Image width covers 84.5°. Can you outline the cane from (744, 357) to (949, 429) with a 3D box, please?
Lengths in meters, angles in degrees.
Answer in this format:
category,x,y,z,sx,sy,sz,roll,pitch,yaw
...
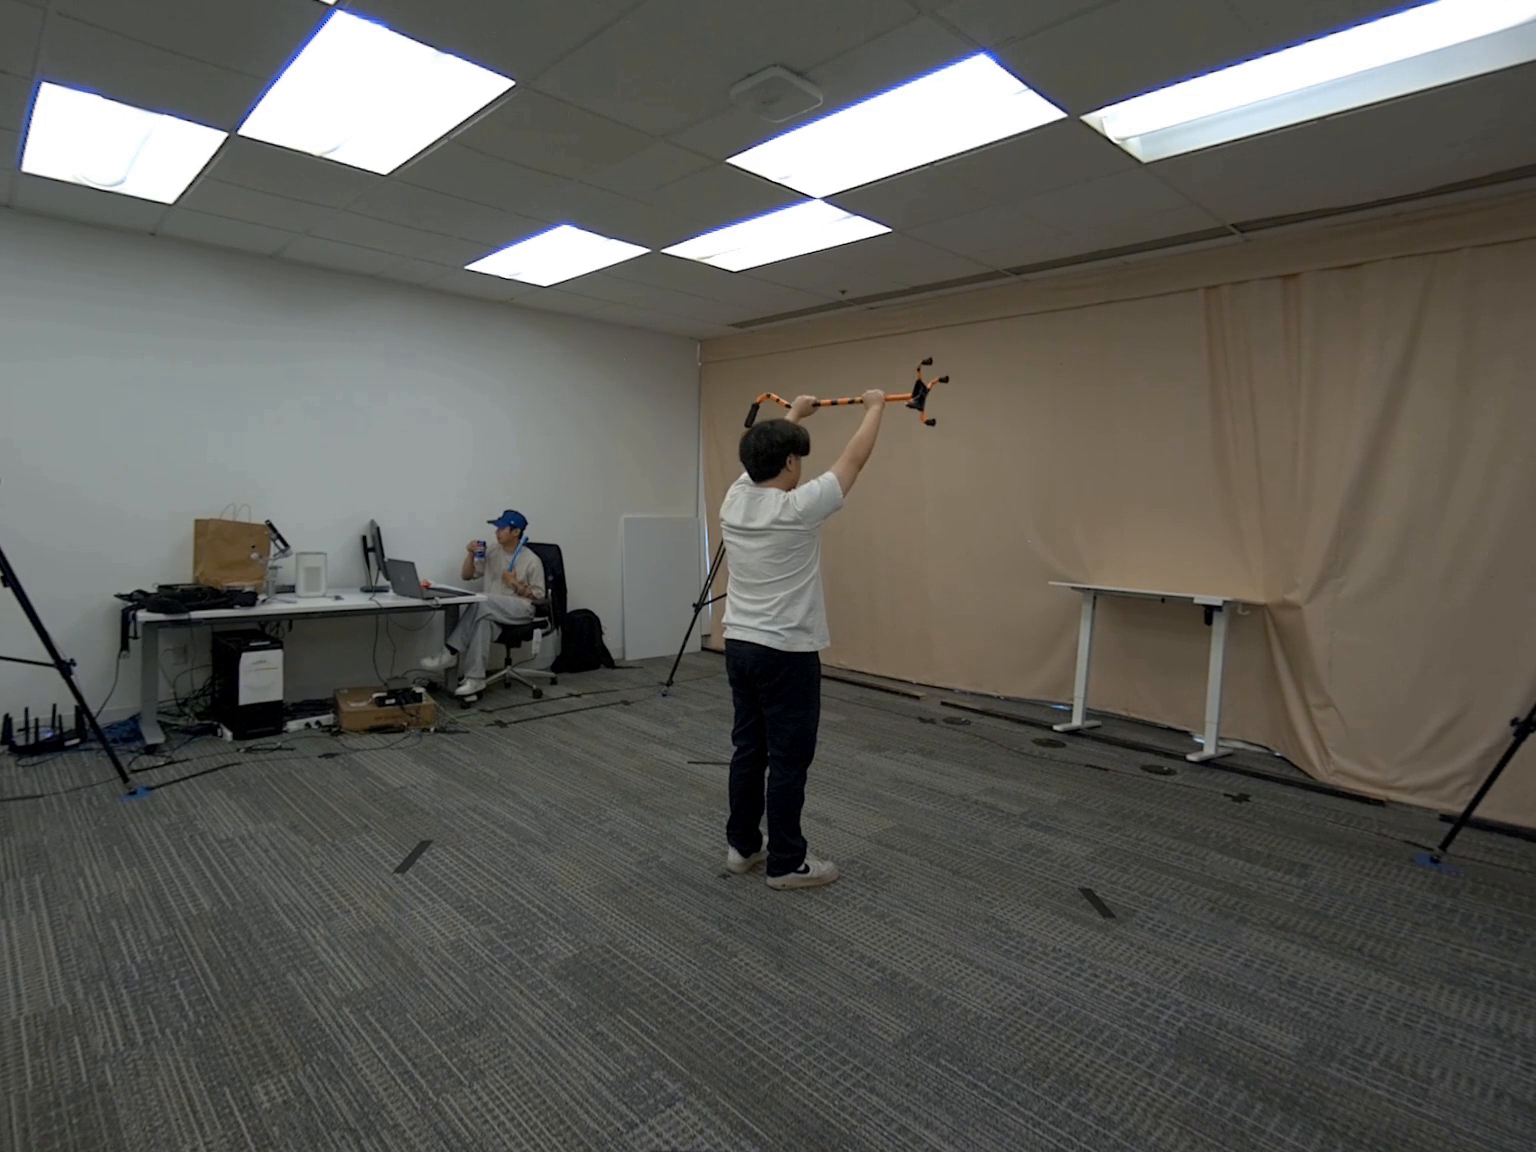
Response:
category,x,y,z,sx,sy,sz,roll,pitch,yaw
cane,0.249,-0.689,3.306,0.931,0.207,0.147,7,-19,45
